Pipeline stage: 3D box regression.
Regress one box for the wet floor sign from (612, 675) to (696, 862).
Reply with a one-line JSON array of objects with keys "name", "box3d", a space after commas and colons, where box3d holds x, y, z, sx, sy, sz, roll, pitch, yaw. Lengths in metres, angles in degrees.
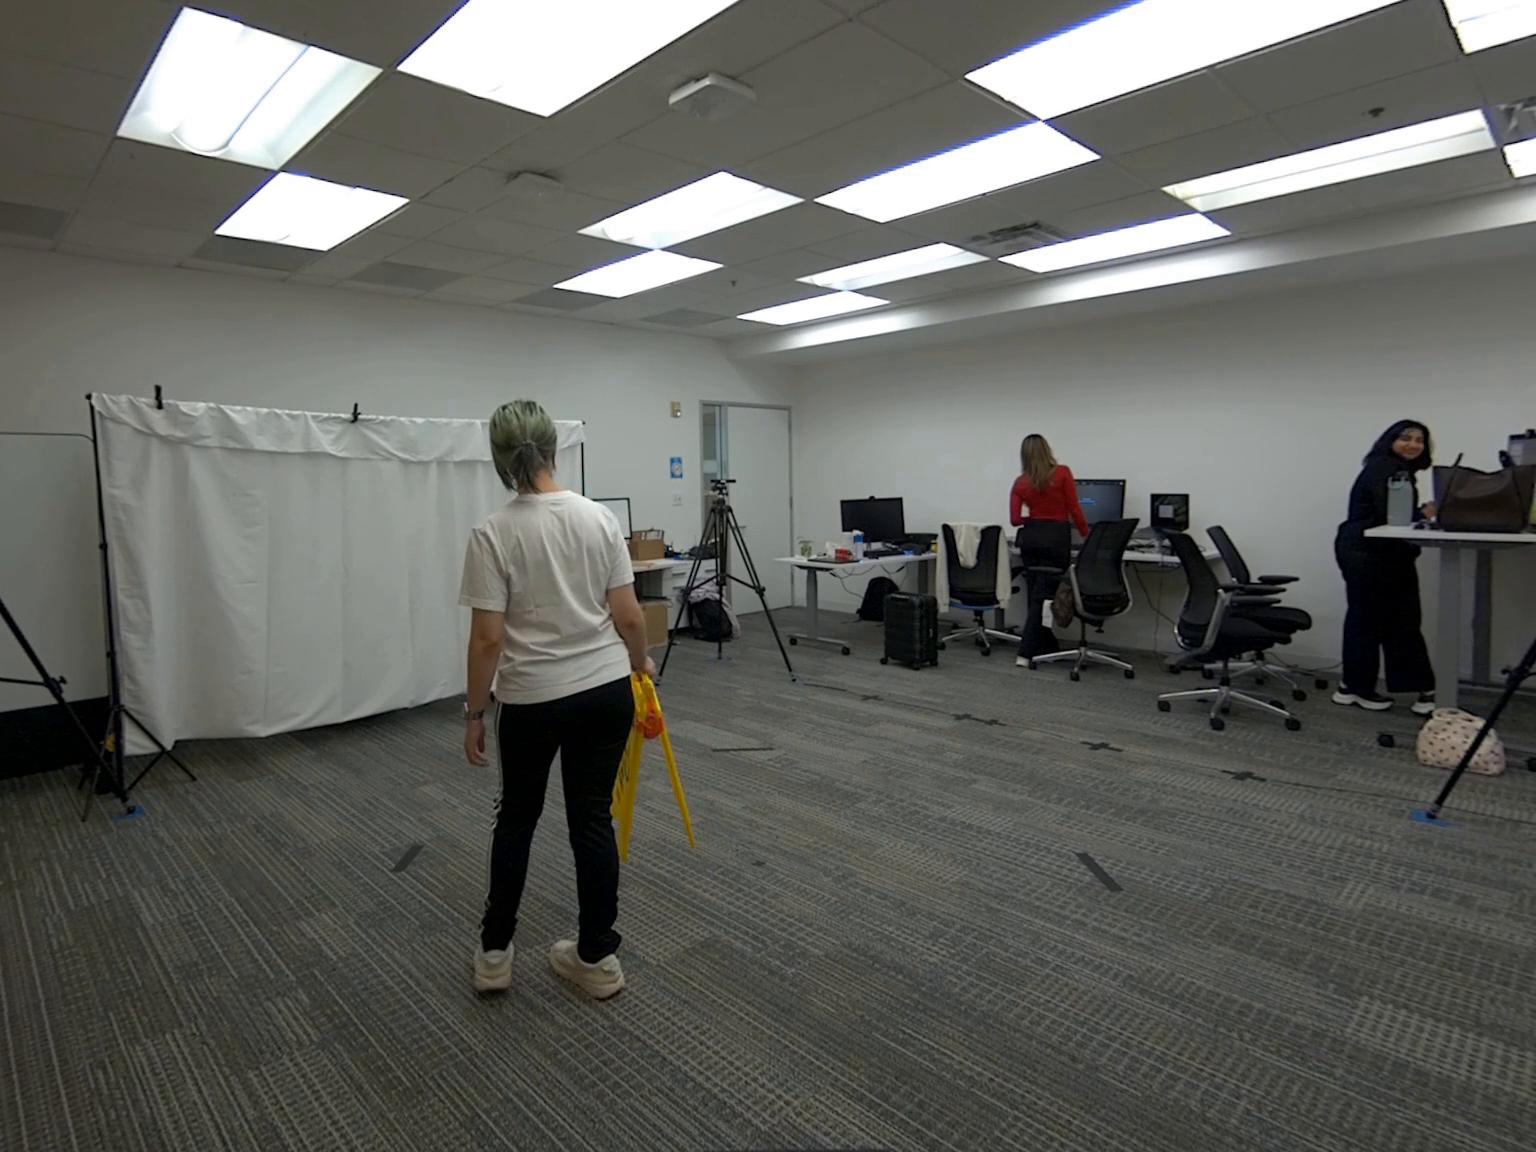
[{"name": "wet floor sign", "box3d": [-0.393, 0.566, 2.750, 0.286, 0.634, 0.291, -6, 24, -15]}]
